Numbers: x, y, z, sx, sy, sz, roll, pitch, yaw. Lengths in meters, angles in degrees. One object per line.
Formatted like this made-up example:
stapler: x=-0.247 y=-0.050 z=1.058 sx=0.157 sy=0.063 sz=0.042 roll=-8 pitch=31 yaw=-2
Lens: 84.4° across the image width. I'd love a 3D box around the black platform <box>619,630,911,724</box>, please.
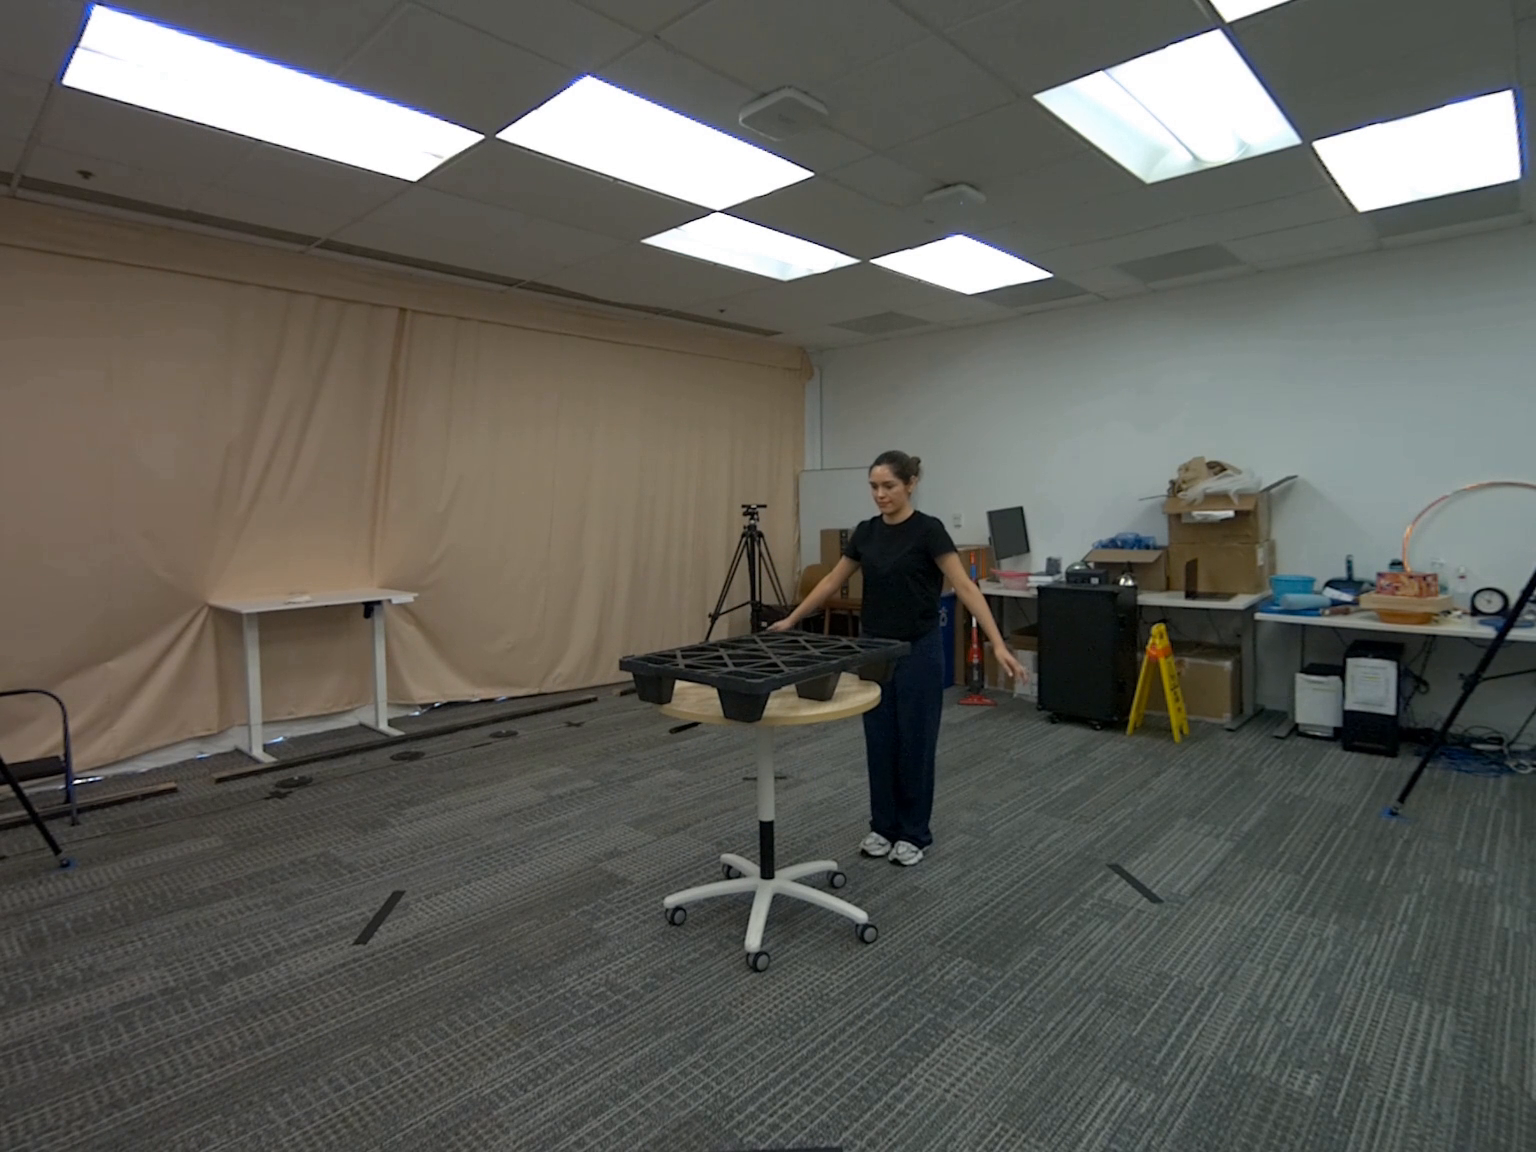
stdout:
black platform: x=0.028 y=0.312 z=2.762 sx=0.625 sy=0.143 sz=0.781 roll=4 pitch=7 yaw=42
